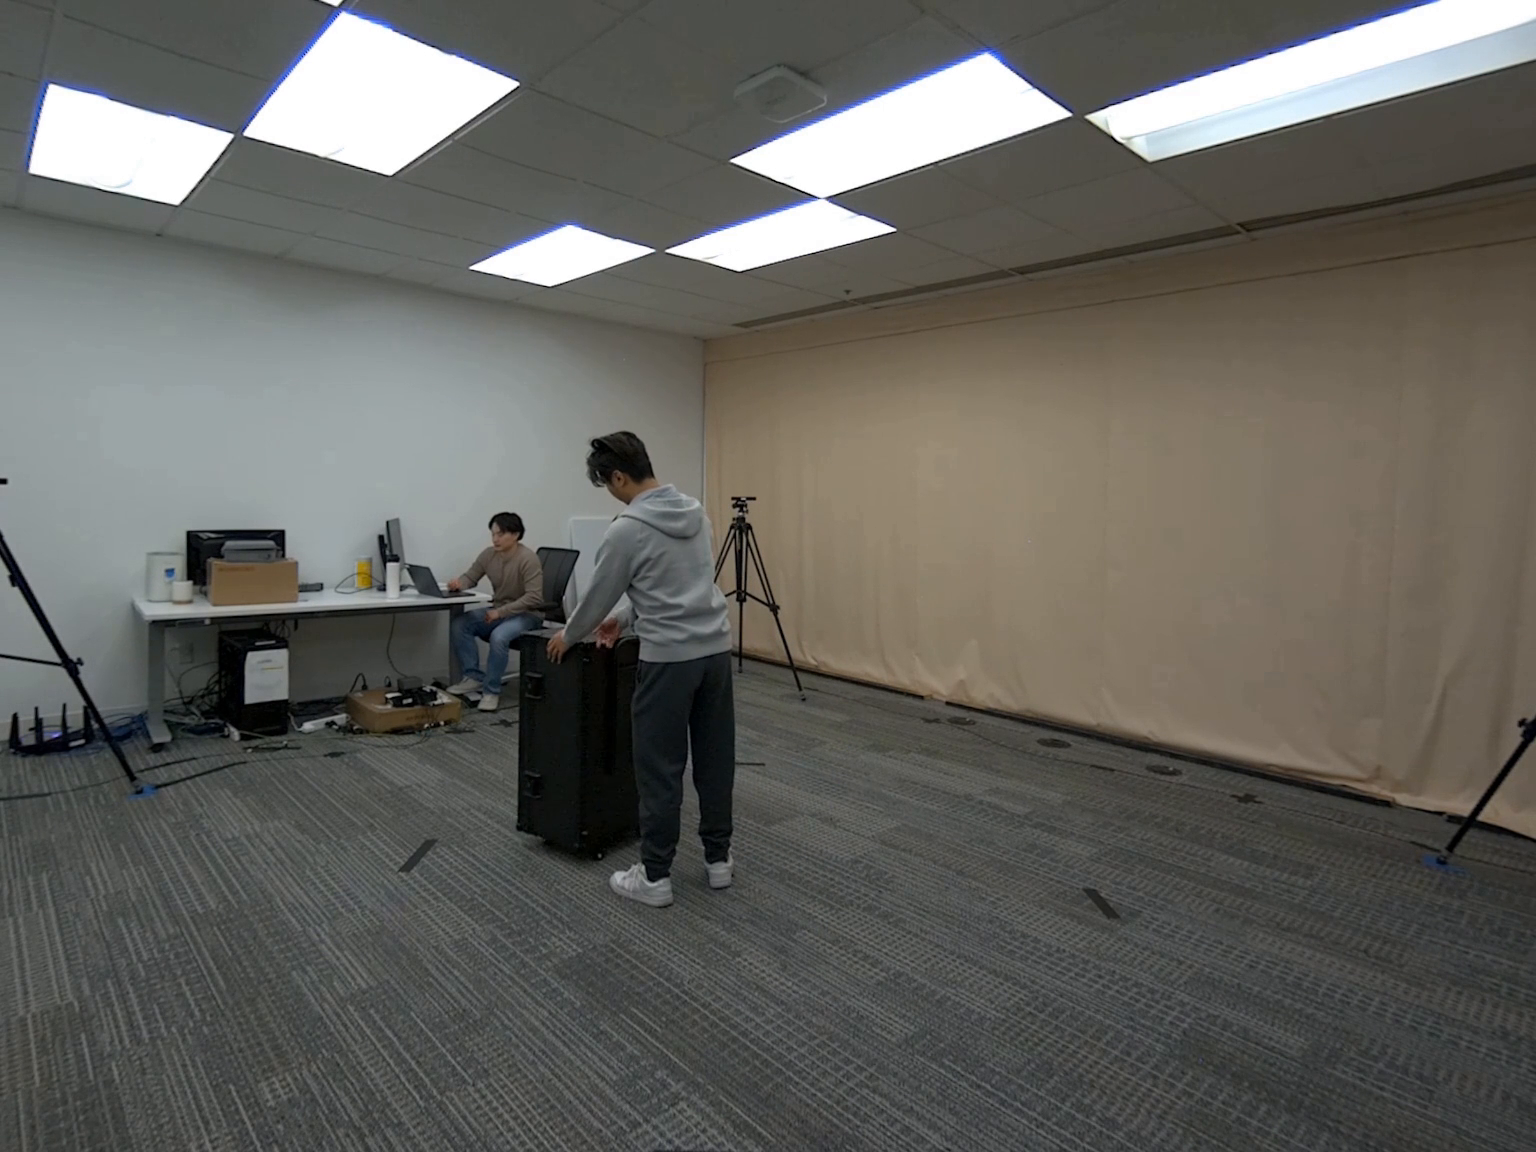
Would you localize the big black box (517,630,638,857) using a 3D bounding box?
[{"bbox_3d":[-0.693,0.643,3.385,0.406,0.859,0.510,4,4,35],"label":"big black box"}]
